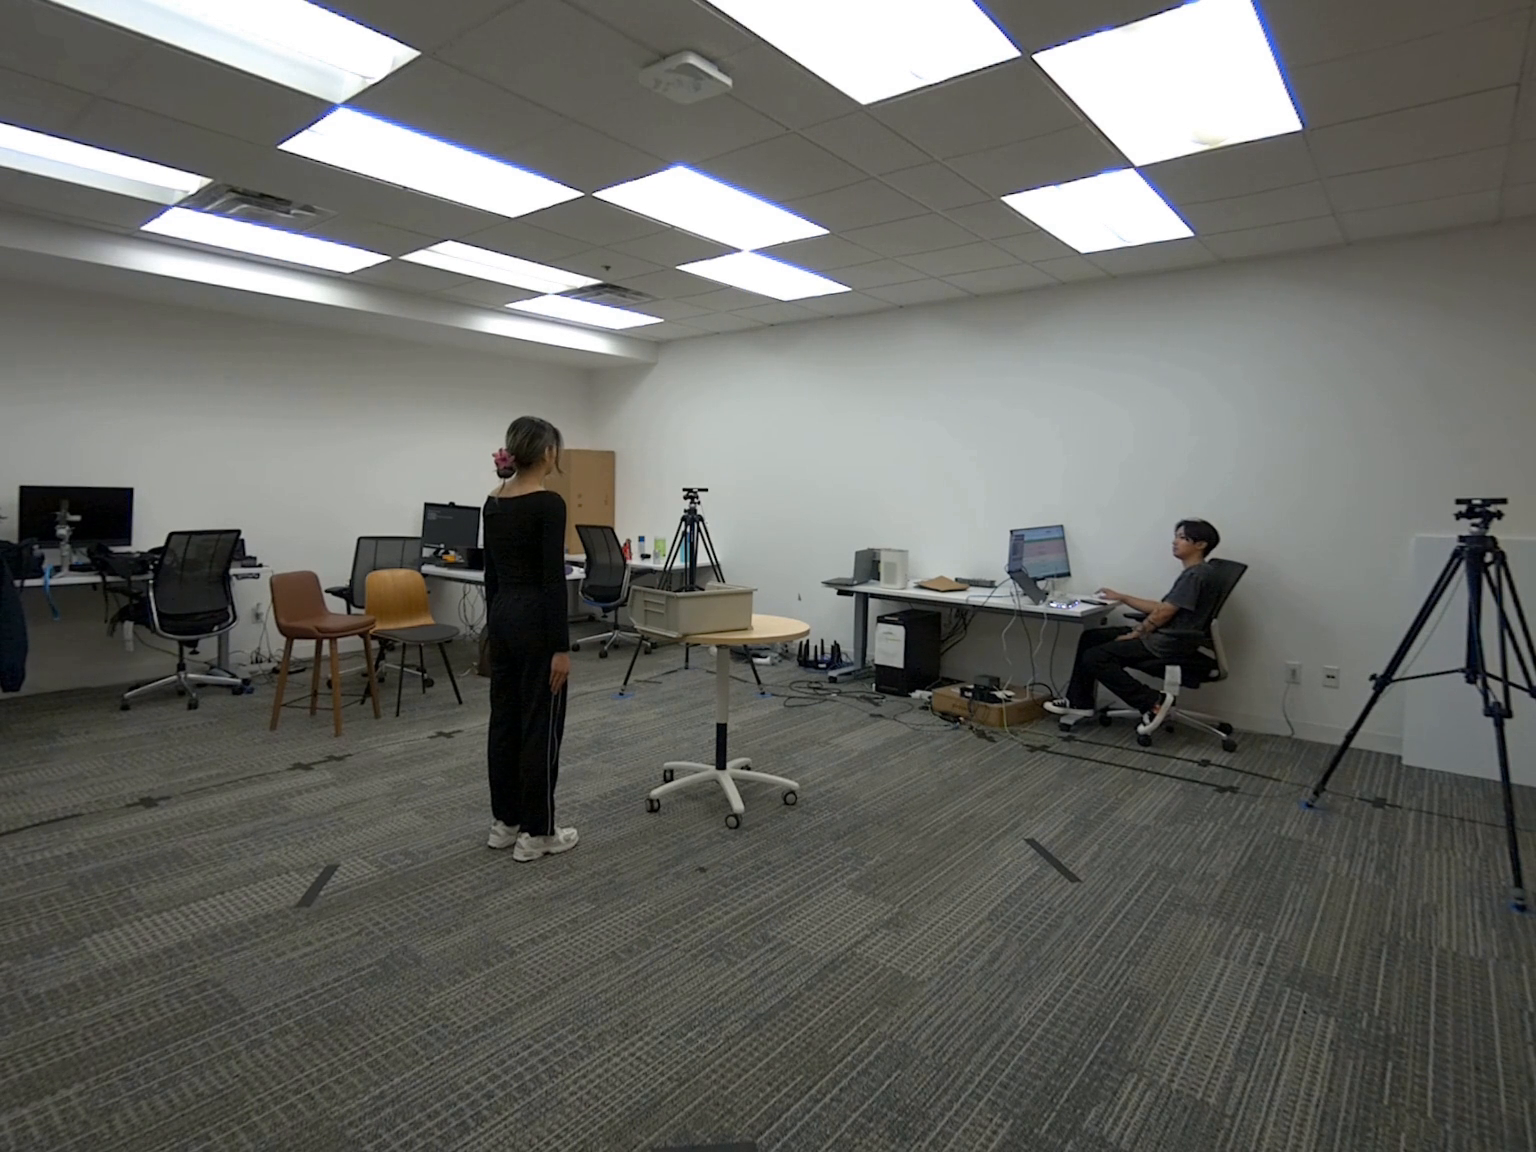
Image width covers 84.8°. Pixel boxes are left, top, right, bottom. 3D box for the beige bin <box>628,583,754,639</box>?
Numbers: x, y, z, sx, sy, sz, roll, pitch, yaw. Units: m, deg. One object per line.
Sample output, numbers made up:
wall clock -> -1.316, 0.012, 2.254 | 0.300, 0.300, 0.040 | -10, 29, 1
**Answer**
beige bin -> -0.343, 0.132, 3.653 | 0.409, 0.188, 0.390 | -2, 7, -39
